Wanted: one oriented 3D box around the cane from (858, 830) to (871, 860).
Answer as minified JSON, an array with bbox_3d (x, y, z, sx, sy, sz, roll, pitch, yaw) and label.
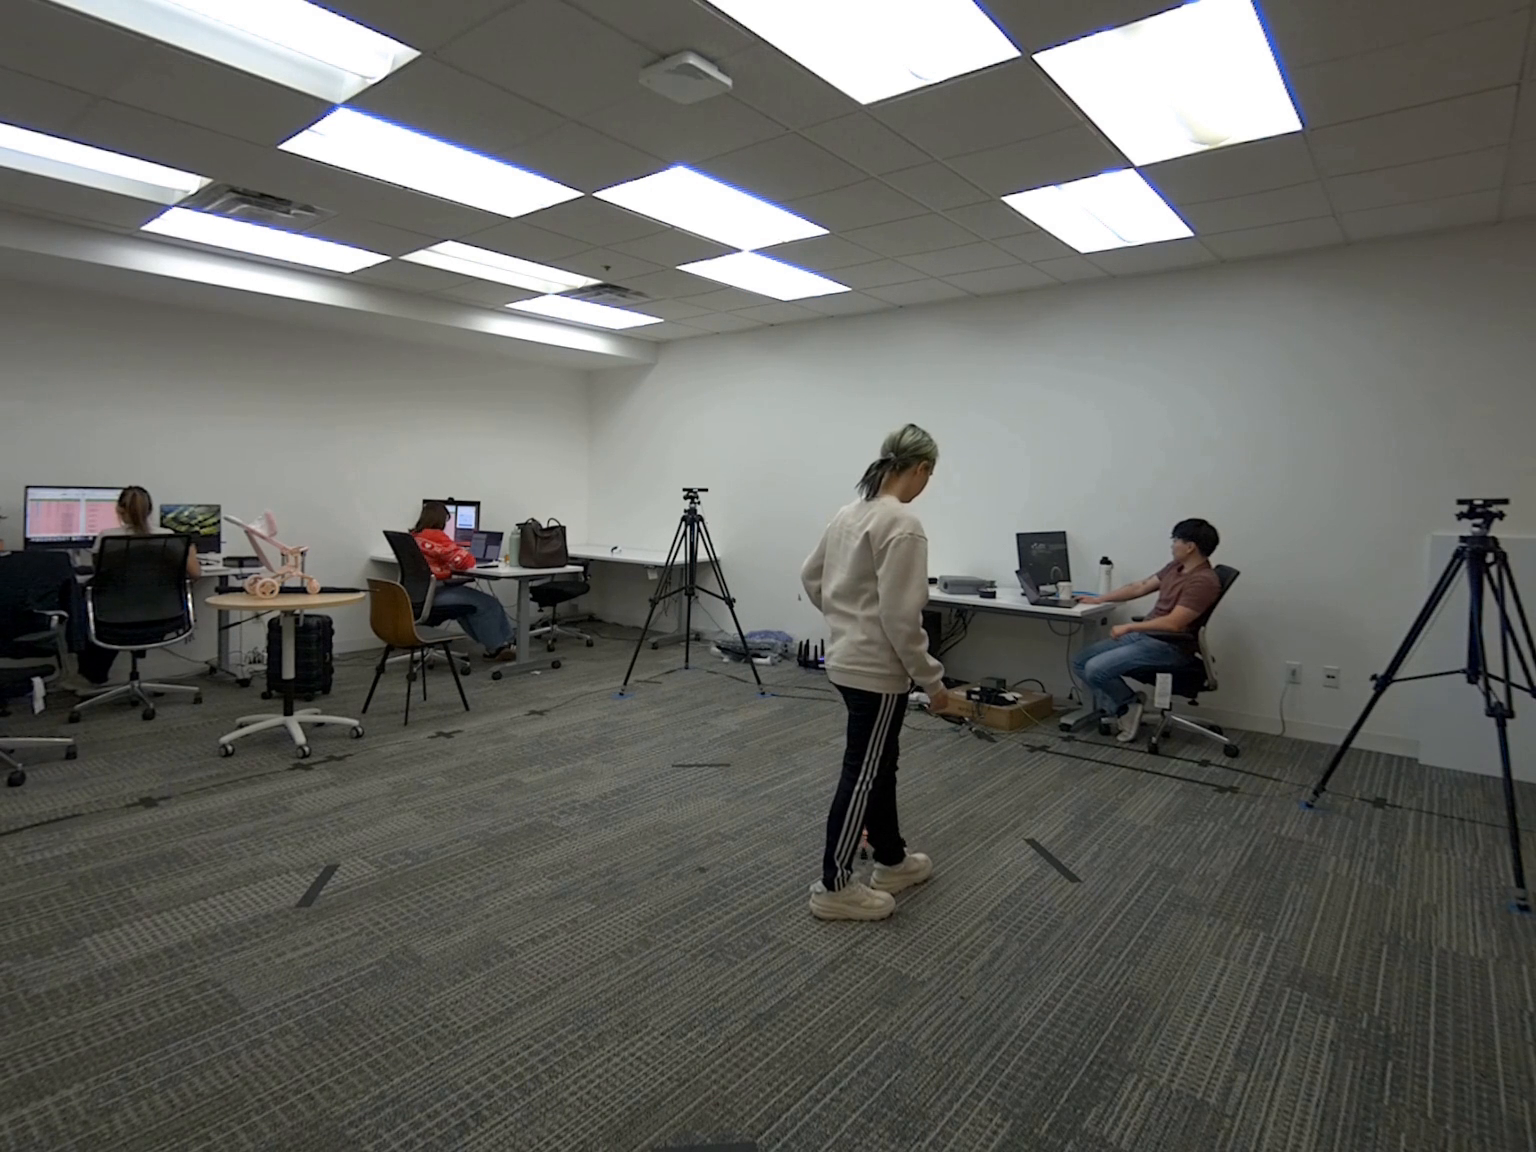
[{"bbox_3d":[0.368,0.586,3.244,0.202,0.904,0.155,-6,4,-23],"label":"cane"}]
